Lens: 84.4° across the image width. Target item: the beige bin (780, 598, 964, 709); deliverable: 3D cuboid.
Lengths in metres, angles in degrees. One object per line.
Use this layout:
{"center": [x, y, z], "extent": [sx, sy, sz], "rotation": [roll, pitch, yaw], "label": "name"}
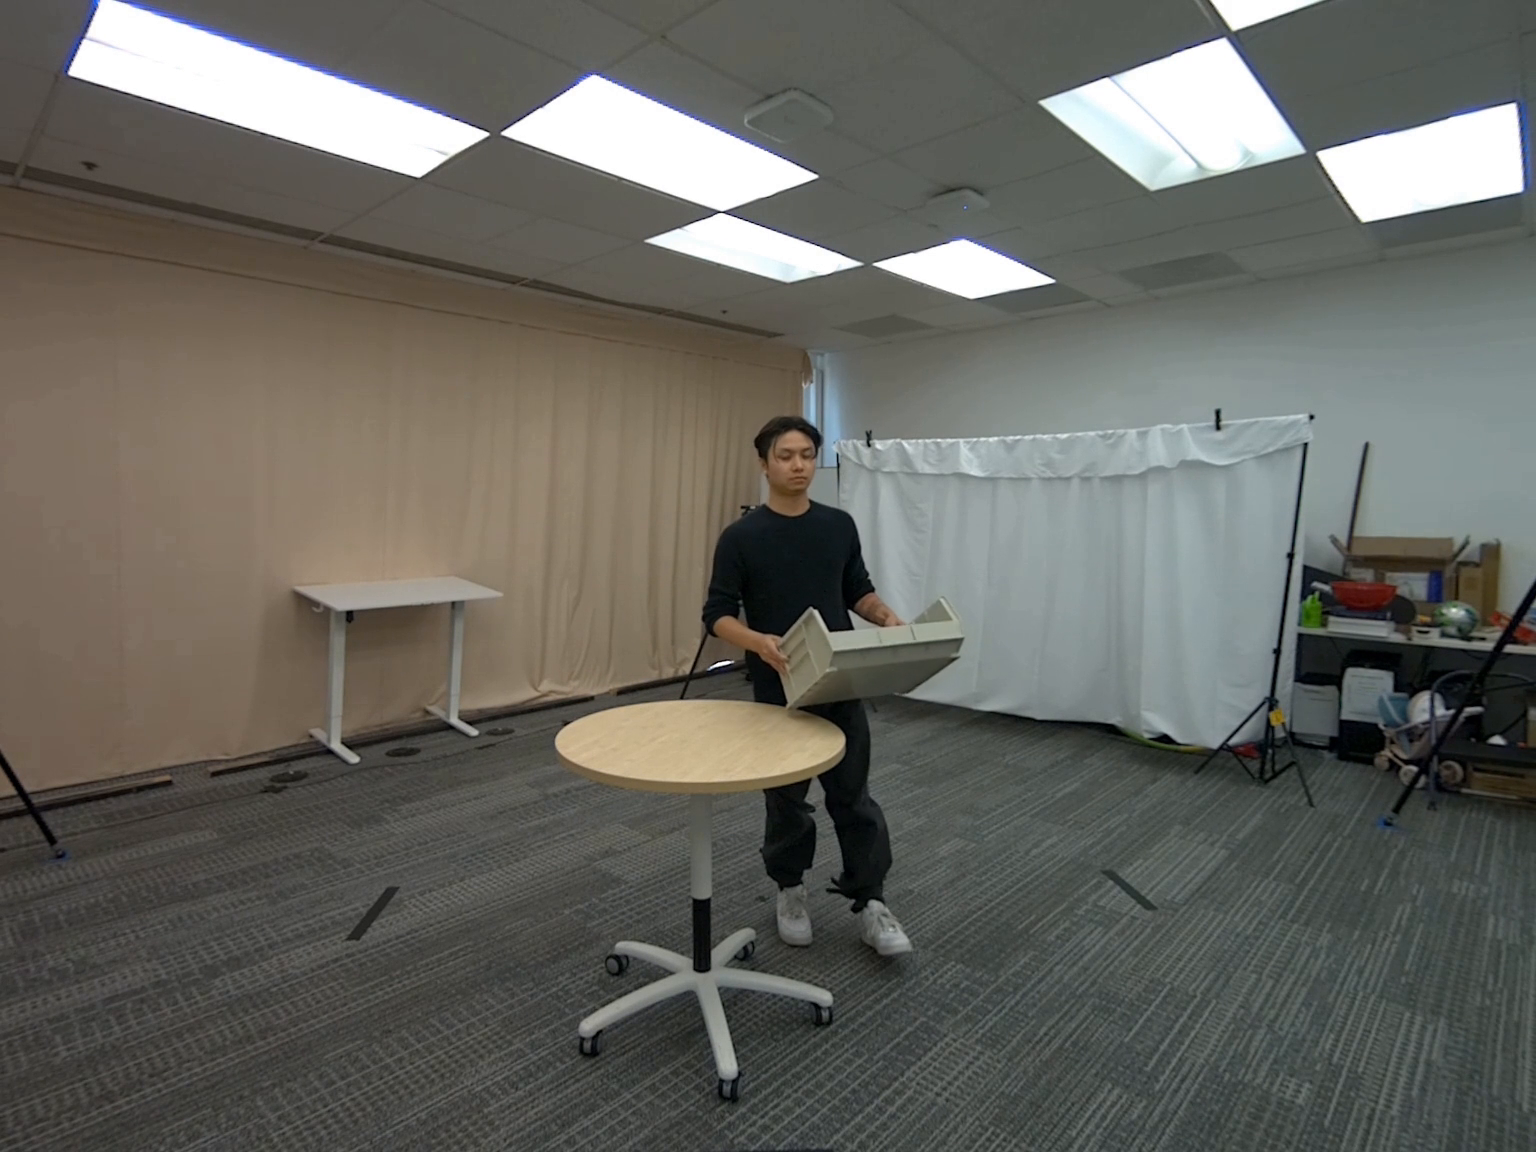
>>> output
{"center": [0.270, 0.217, 2.377], "extent": [0.413, 0.193, 0.378], "rotation": [-4, -26, -23], "label": "beige bin"}
